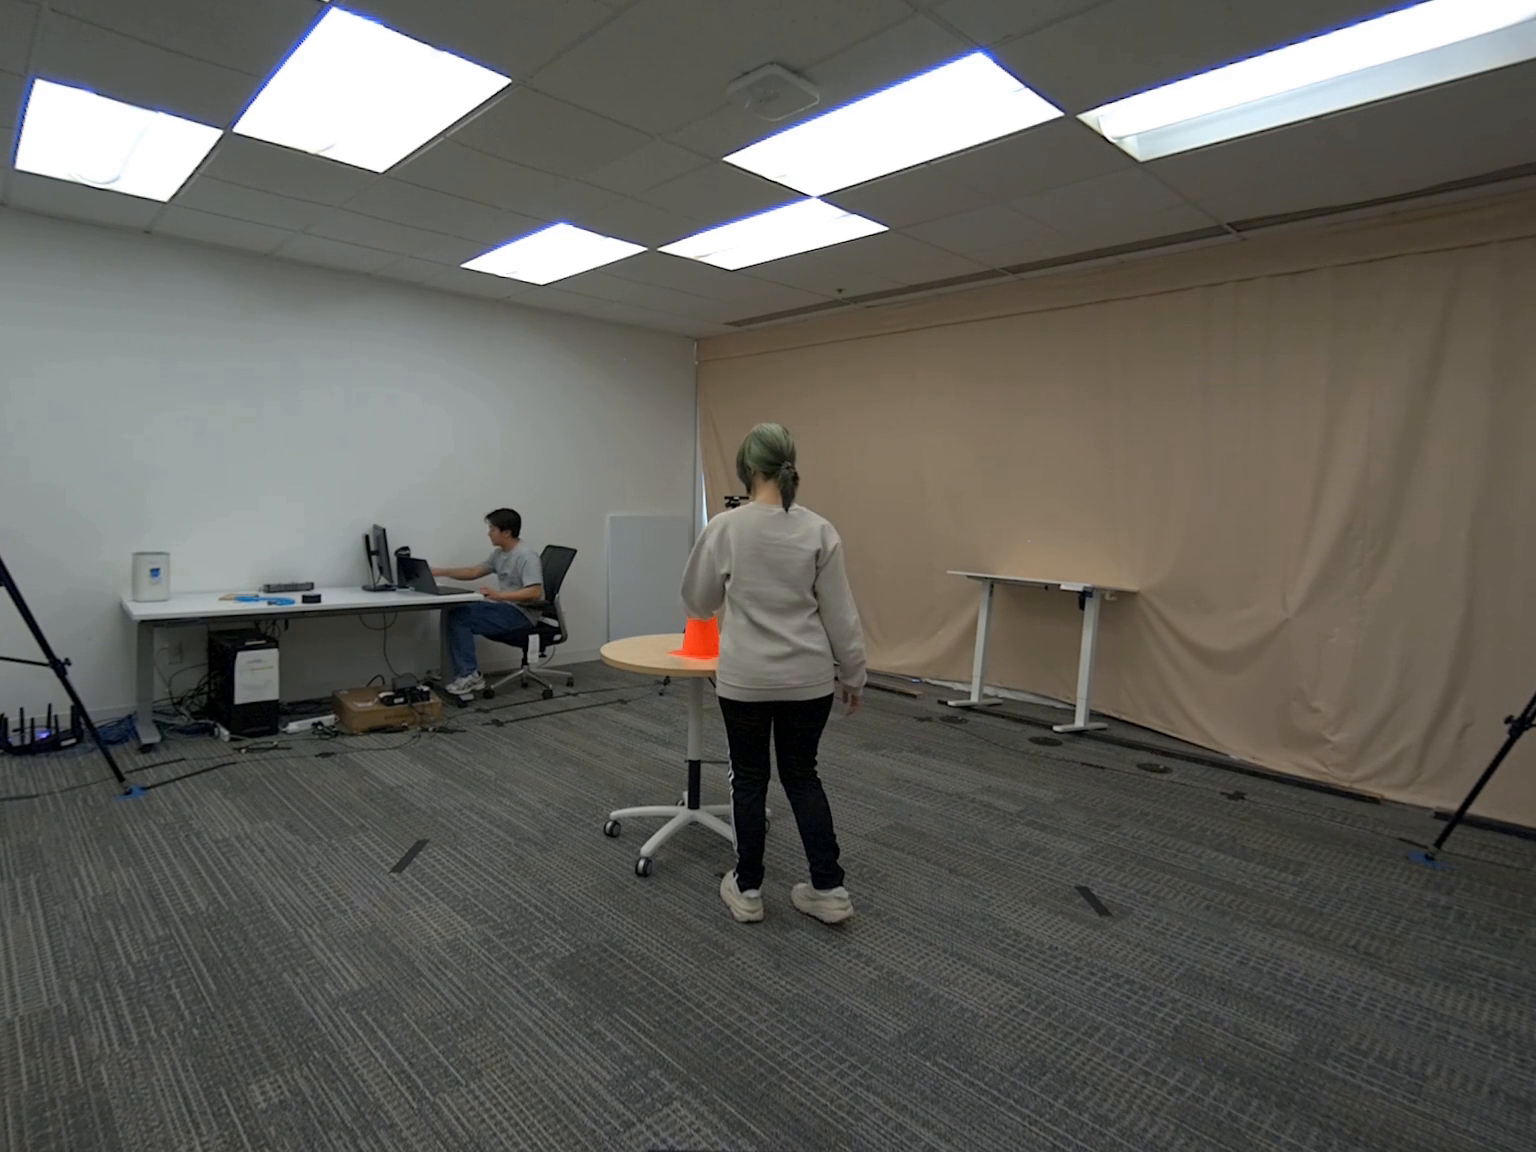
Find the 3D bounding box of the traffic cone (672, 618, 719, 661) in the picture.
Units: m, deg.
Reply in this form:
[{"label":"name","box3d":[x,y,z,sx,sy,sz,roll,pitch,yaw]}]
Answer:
[{"label":"traffic cone","box3d":[-0.261,0.117,3.268,0.208,0.382,0.201,6,6,32]}]
